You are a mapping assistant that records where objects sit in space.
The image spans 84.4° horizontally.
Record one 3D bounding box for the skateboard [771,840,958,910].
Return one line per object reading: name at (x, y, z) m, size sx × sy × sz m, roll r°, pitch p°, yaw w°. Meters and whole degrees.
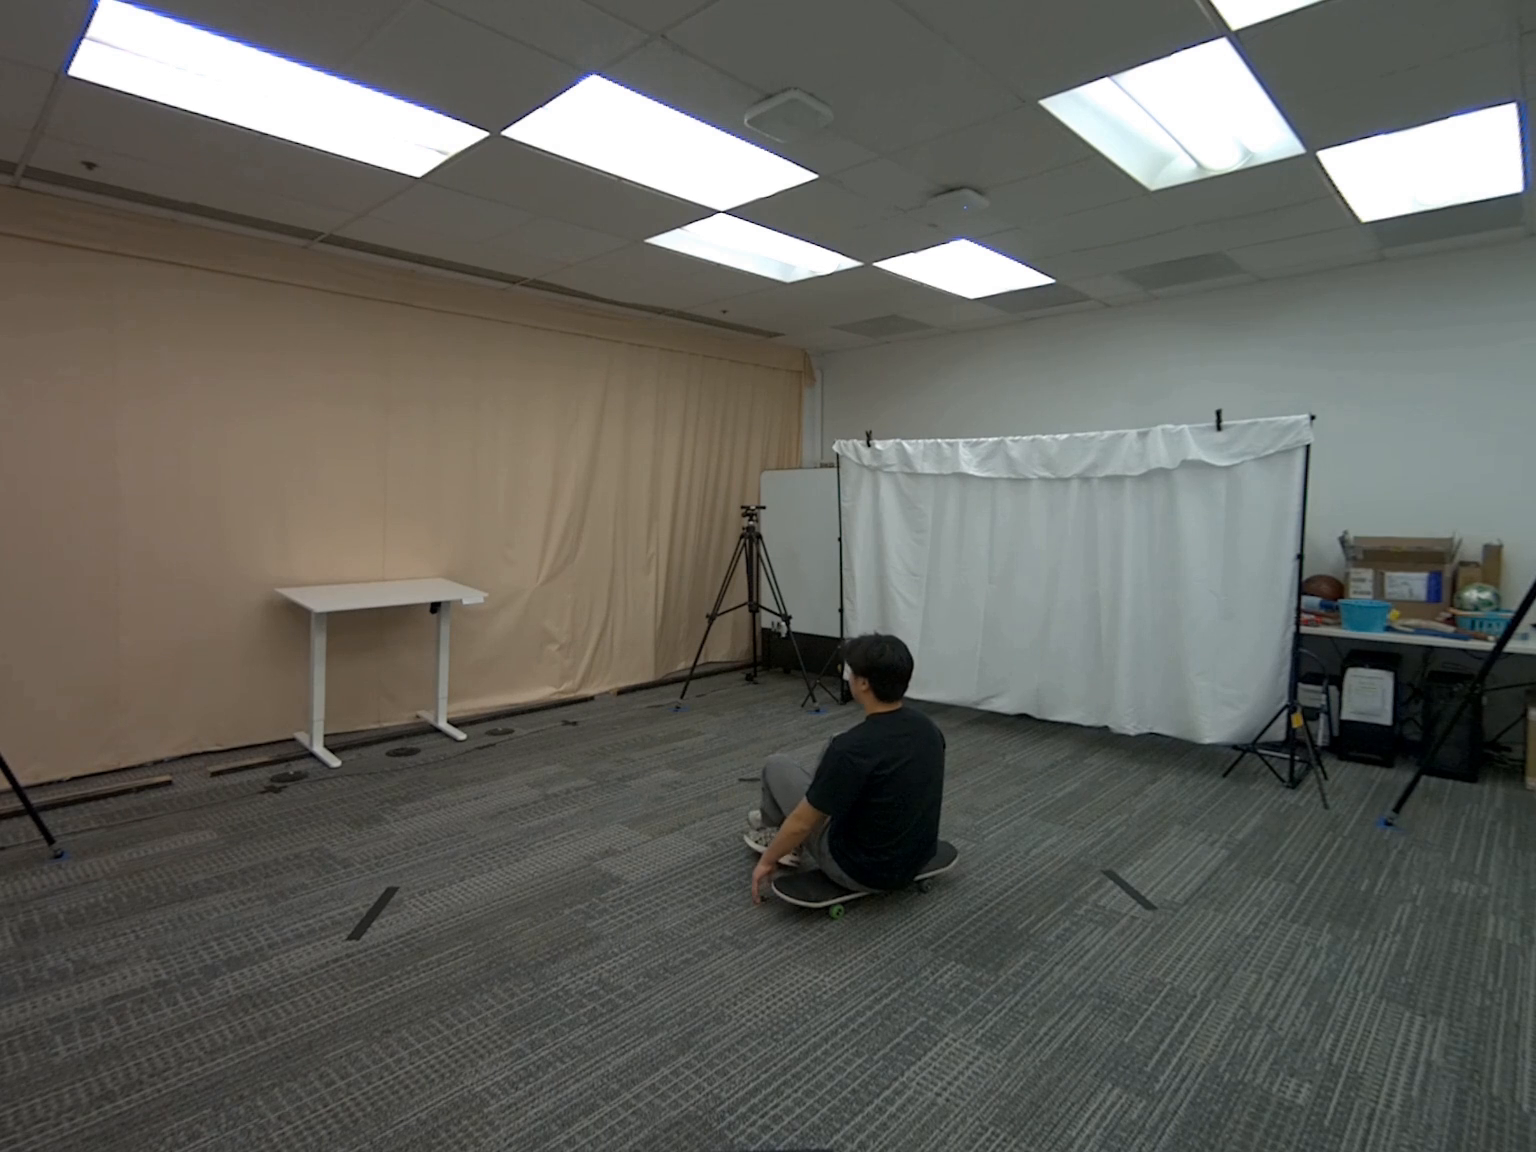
skateboard at (0.355, 1.082, 3.003) m, size 0.765 × 0.110 × 0.200 m, roll -4°, pitch 13°, yaw -30°
